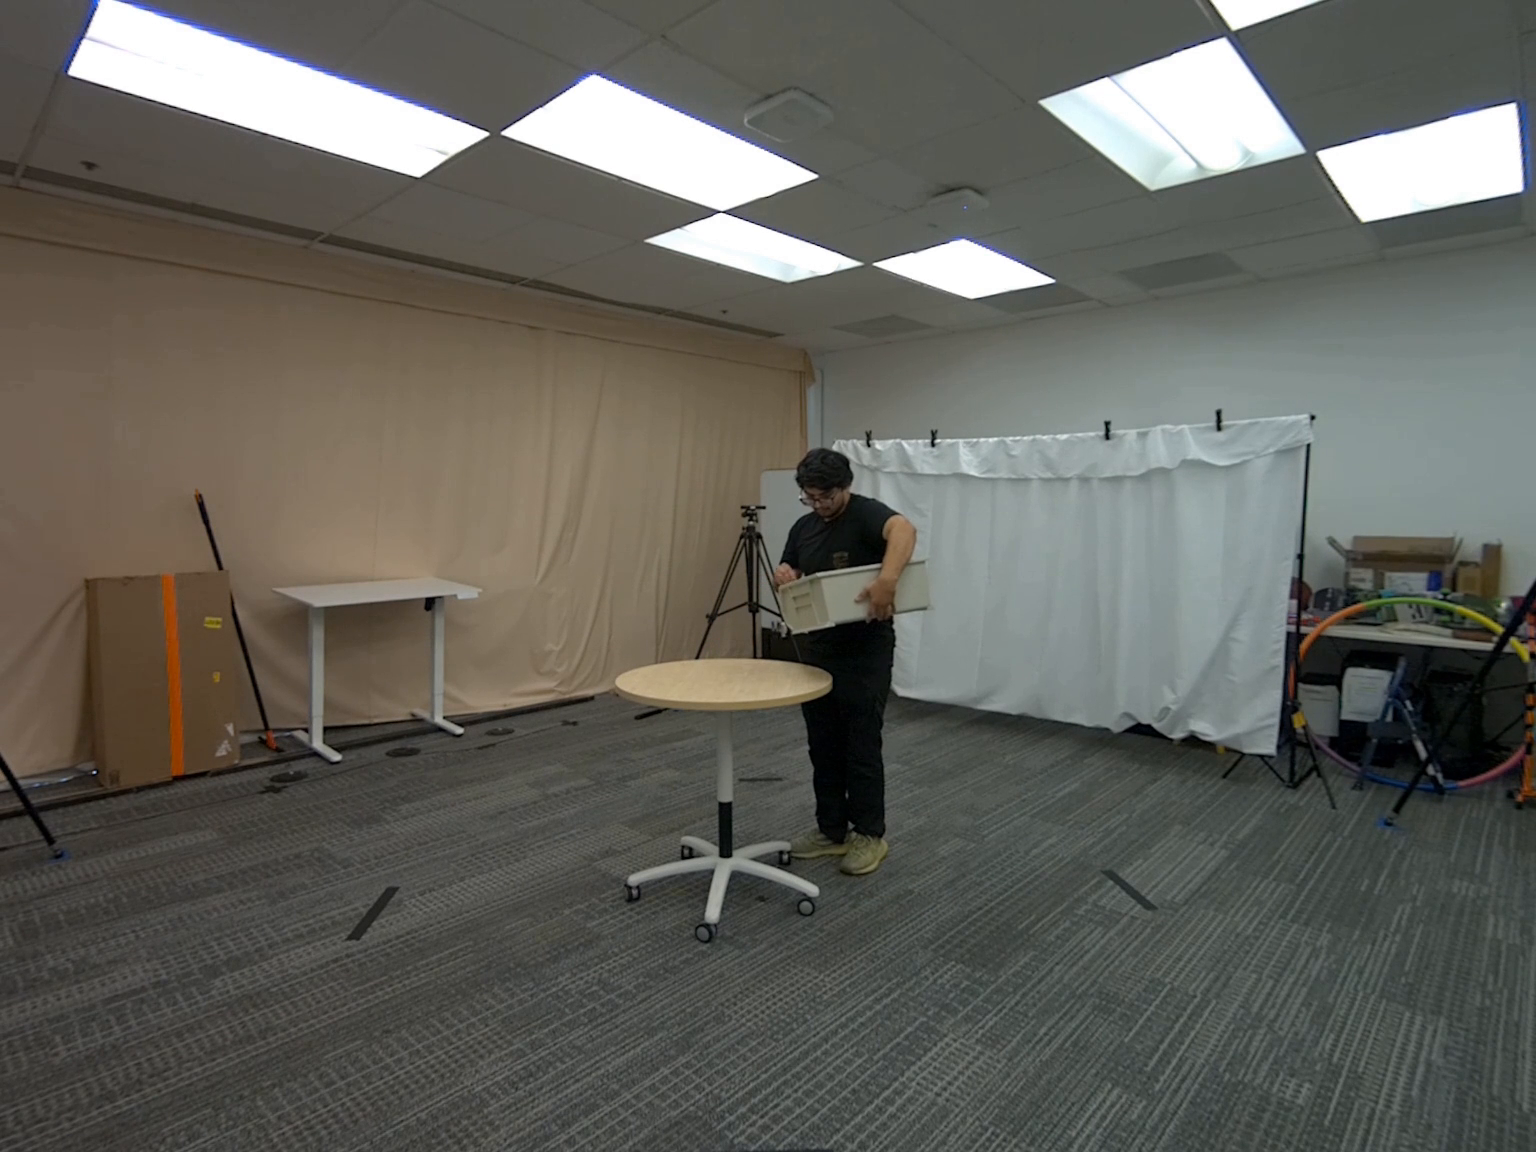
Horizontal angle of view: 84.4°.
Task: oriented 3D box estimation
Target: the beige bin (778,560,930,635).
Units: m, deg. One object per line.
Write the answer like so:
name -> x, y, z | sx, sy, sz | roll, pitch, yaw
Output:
beige bin -> 0.299, 0.074, 2.981 | 0.415, 0.189, 0.383 | -8, -3, -19
